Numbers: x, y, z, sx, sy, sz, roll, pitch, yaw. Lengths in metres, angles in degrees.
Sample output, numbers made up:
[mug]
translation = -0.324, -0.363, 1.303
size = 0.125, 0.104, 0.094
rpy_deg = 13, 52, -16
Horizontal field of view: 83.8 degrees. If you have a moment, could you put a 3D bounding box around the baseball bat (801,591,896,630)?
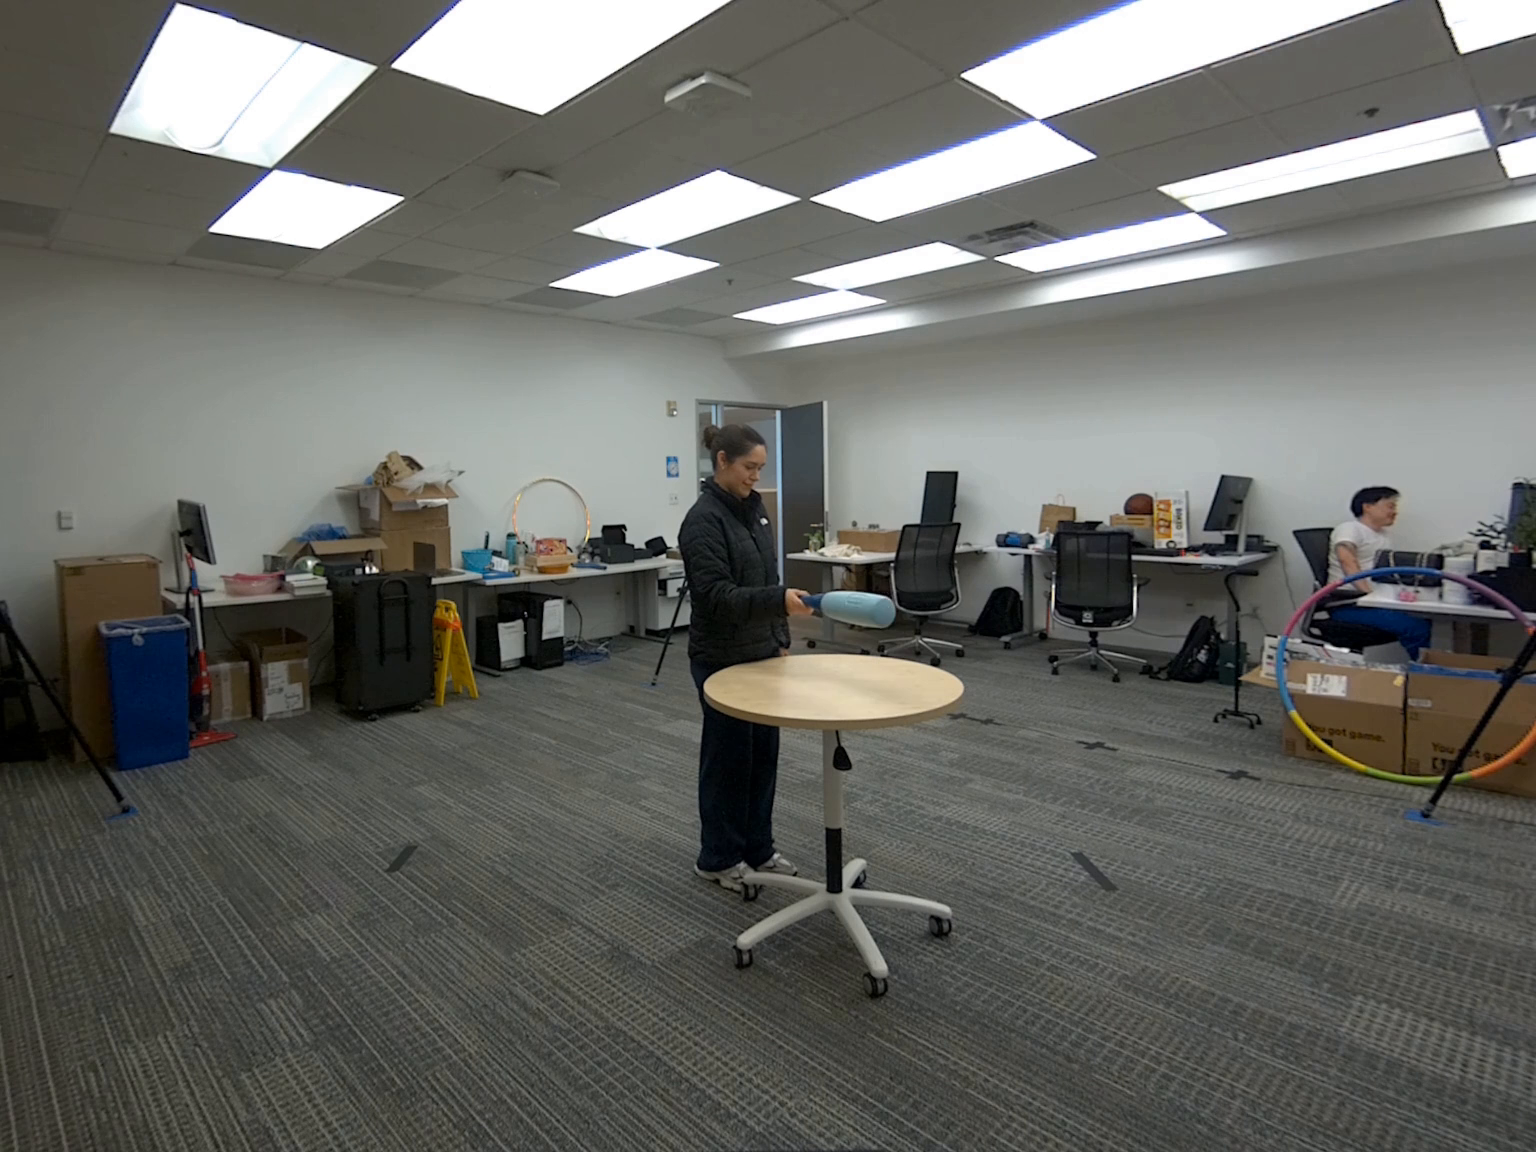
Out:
[baseball bat]
translation = 0.175, 0.085, 2.513
size = 0.087, 0.089, 0.556
rpy_deg = -3, 4, -27
